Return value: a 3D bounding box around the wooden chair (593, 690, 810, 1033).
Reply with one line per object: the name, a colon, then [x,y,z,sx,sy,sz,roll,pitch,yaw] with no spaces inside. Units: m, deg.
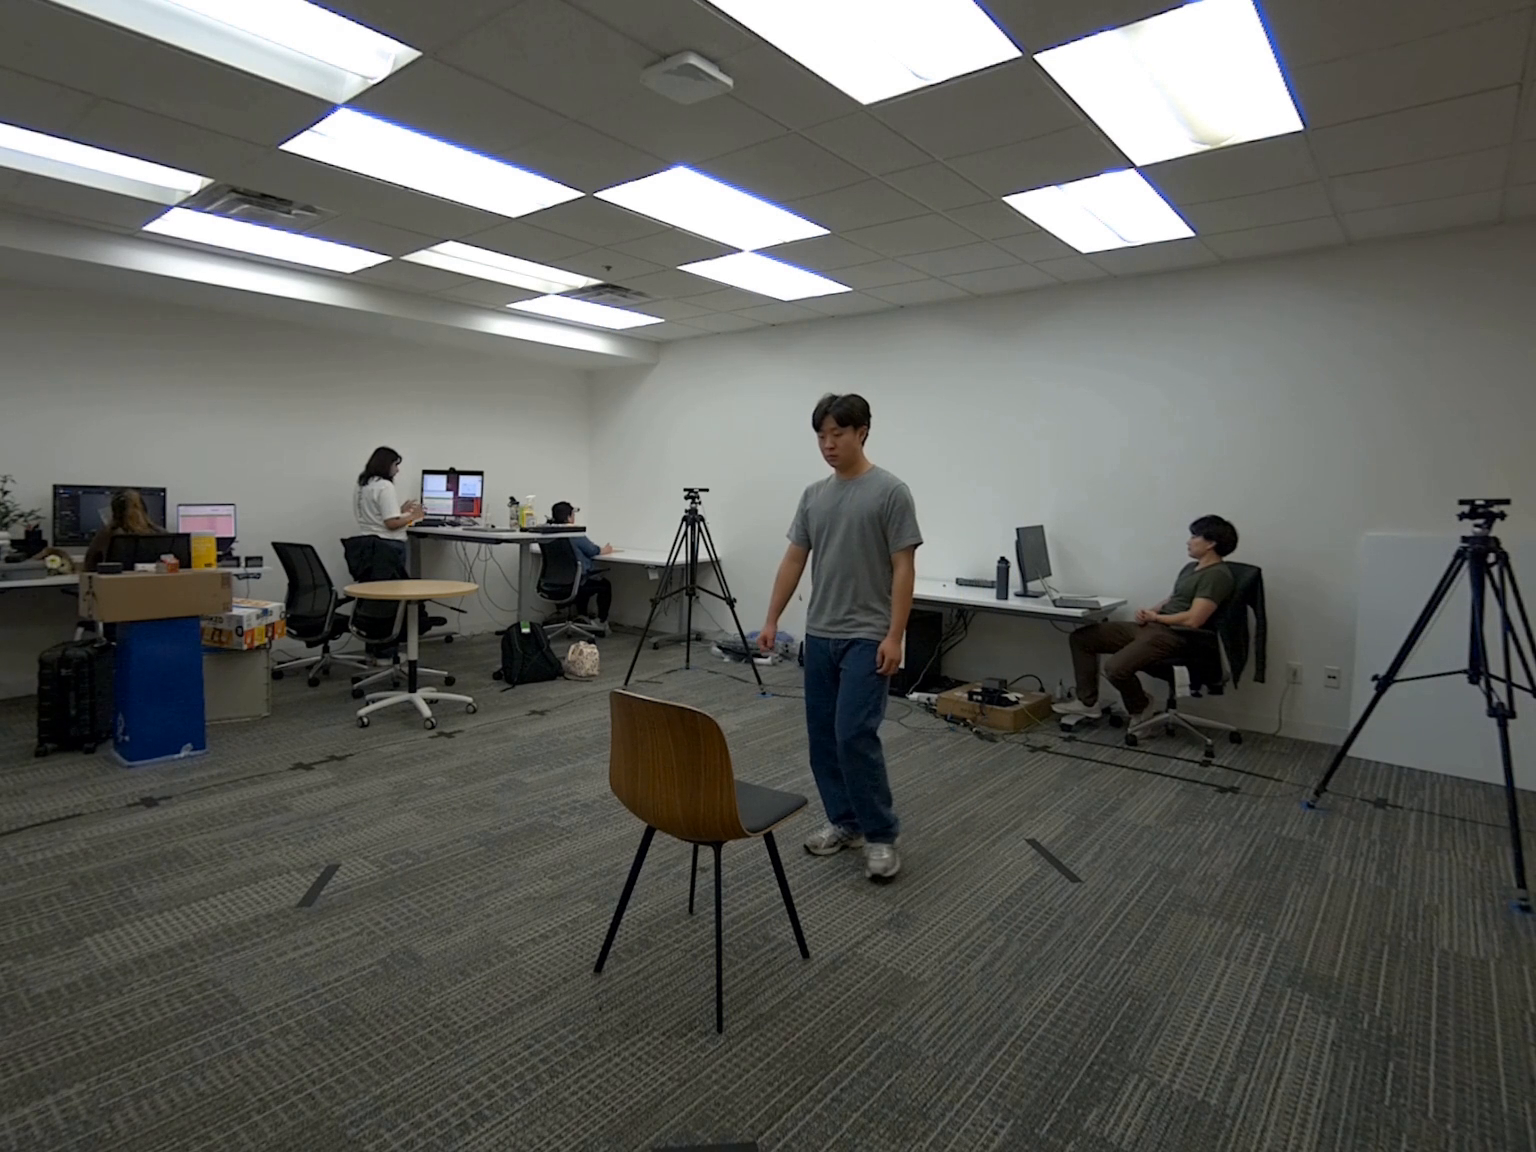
wooden chair: [-0.186,0.706,2.460,0.493,0.871,0.510,3,9,34]
